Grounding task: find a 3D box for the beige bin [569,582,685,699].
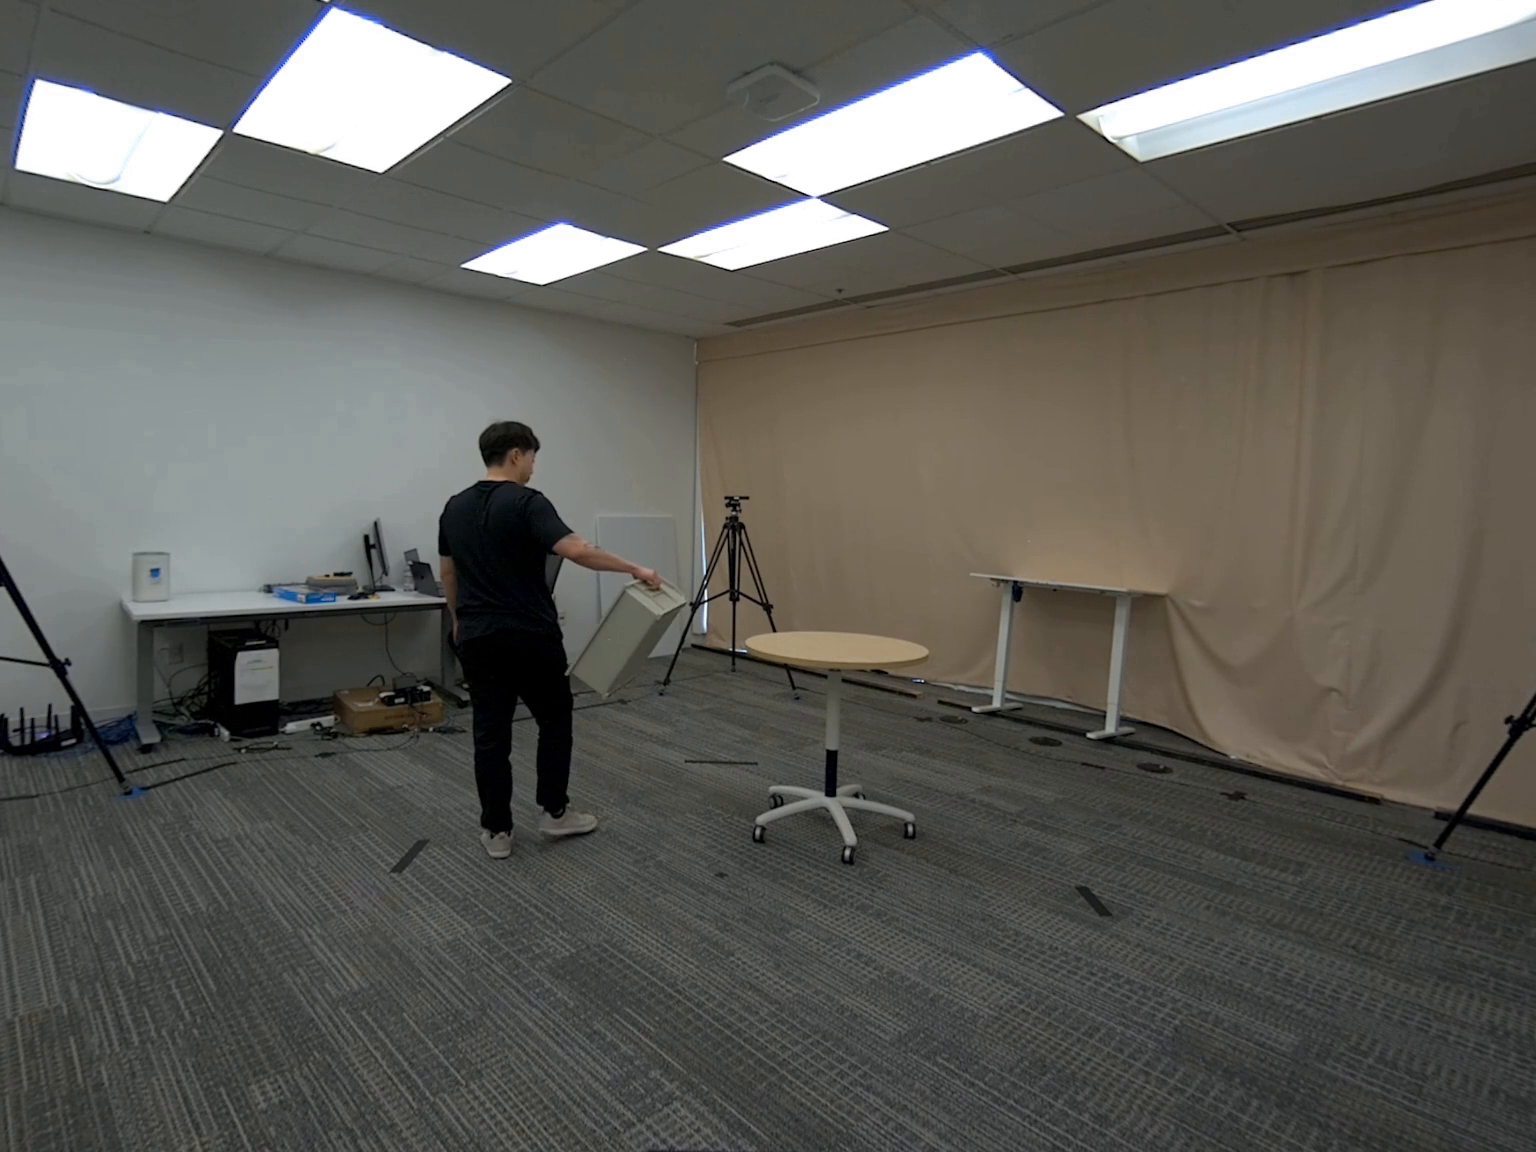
[{"bbox_3d":[-0.548,0.228,3.249,0.190,0.421,0.375,37,10,6],"label":"beige bin"}]
